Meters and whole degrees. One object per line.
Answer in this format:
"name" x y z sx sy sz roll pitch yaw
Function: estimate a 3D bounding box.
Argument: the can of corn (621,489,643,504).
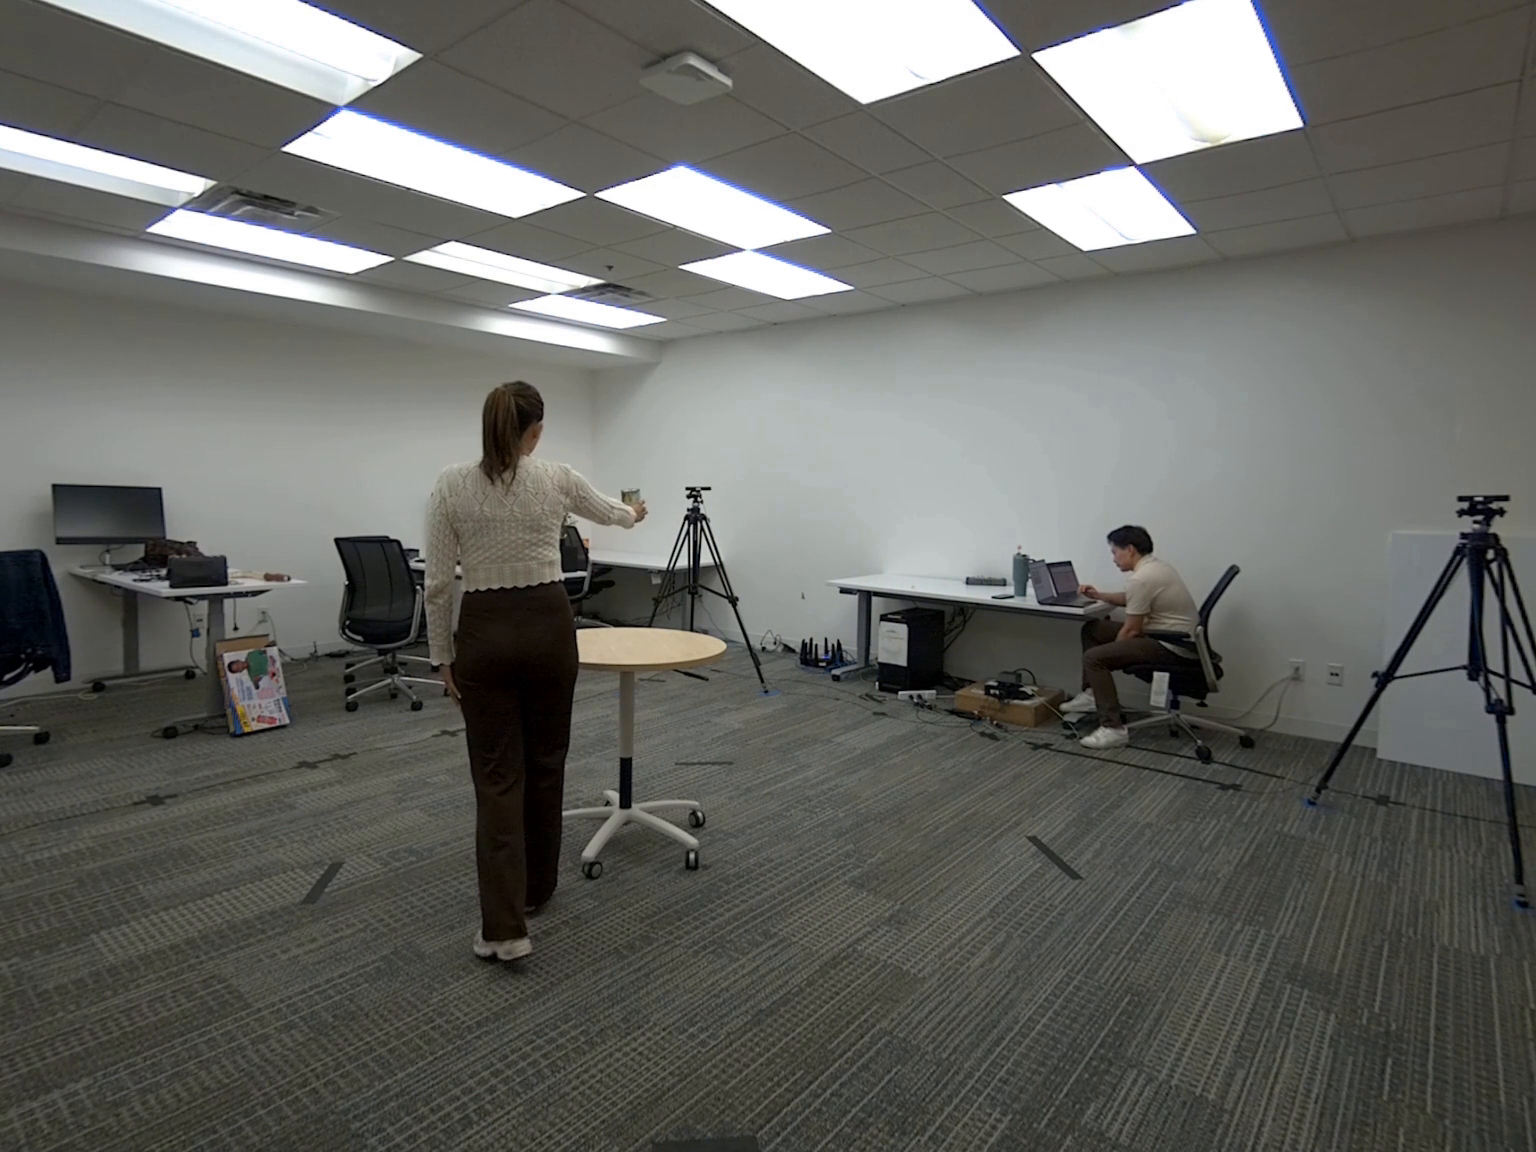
"can of corn" -0.535 -0.282 3.297 0.074 0.110 0.075 -2 7 -2
